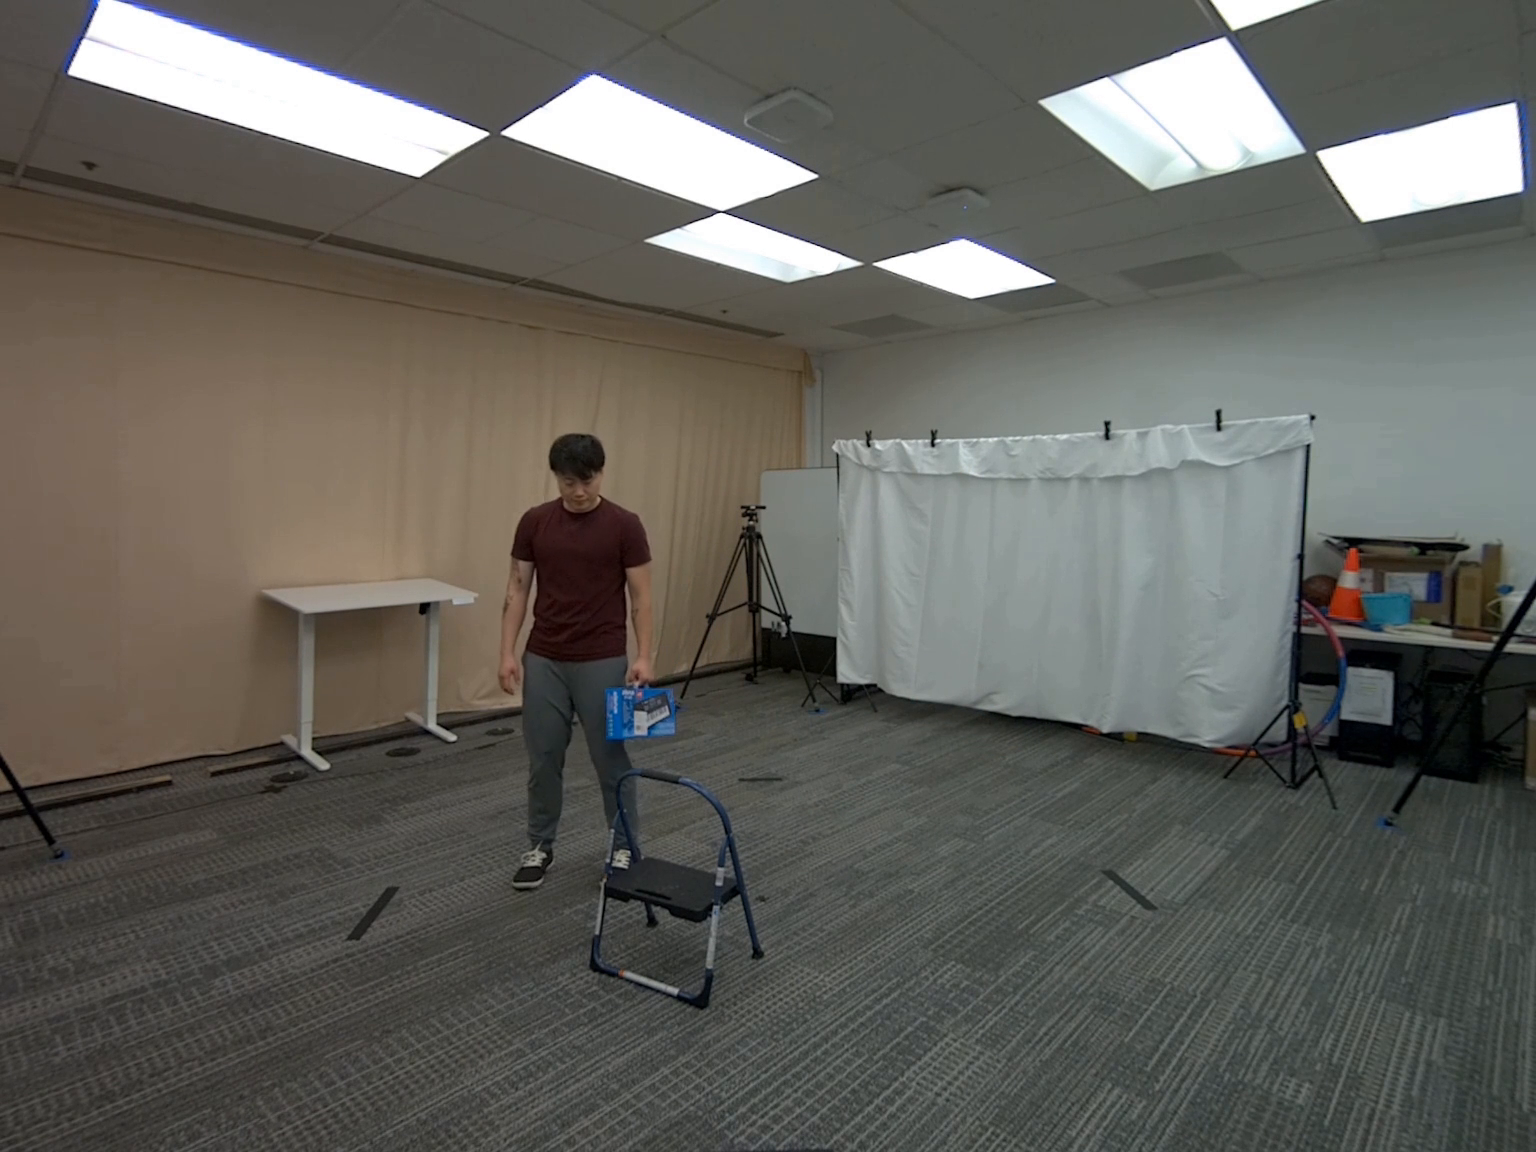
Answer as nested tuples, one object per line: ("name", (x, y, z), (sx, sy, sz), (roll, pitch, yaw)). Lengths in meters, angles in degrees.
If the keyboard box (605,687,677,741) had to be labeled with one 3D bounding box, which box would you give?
("keyboard box", (-0.454, 0.497, 3.043), (0.060, 0.177, 0.426), (-6, -9, 17))
